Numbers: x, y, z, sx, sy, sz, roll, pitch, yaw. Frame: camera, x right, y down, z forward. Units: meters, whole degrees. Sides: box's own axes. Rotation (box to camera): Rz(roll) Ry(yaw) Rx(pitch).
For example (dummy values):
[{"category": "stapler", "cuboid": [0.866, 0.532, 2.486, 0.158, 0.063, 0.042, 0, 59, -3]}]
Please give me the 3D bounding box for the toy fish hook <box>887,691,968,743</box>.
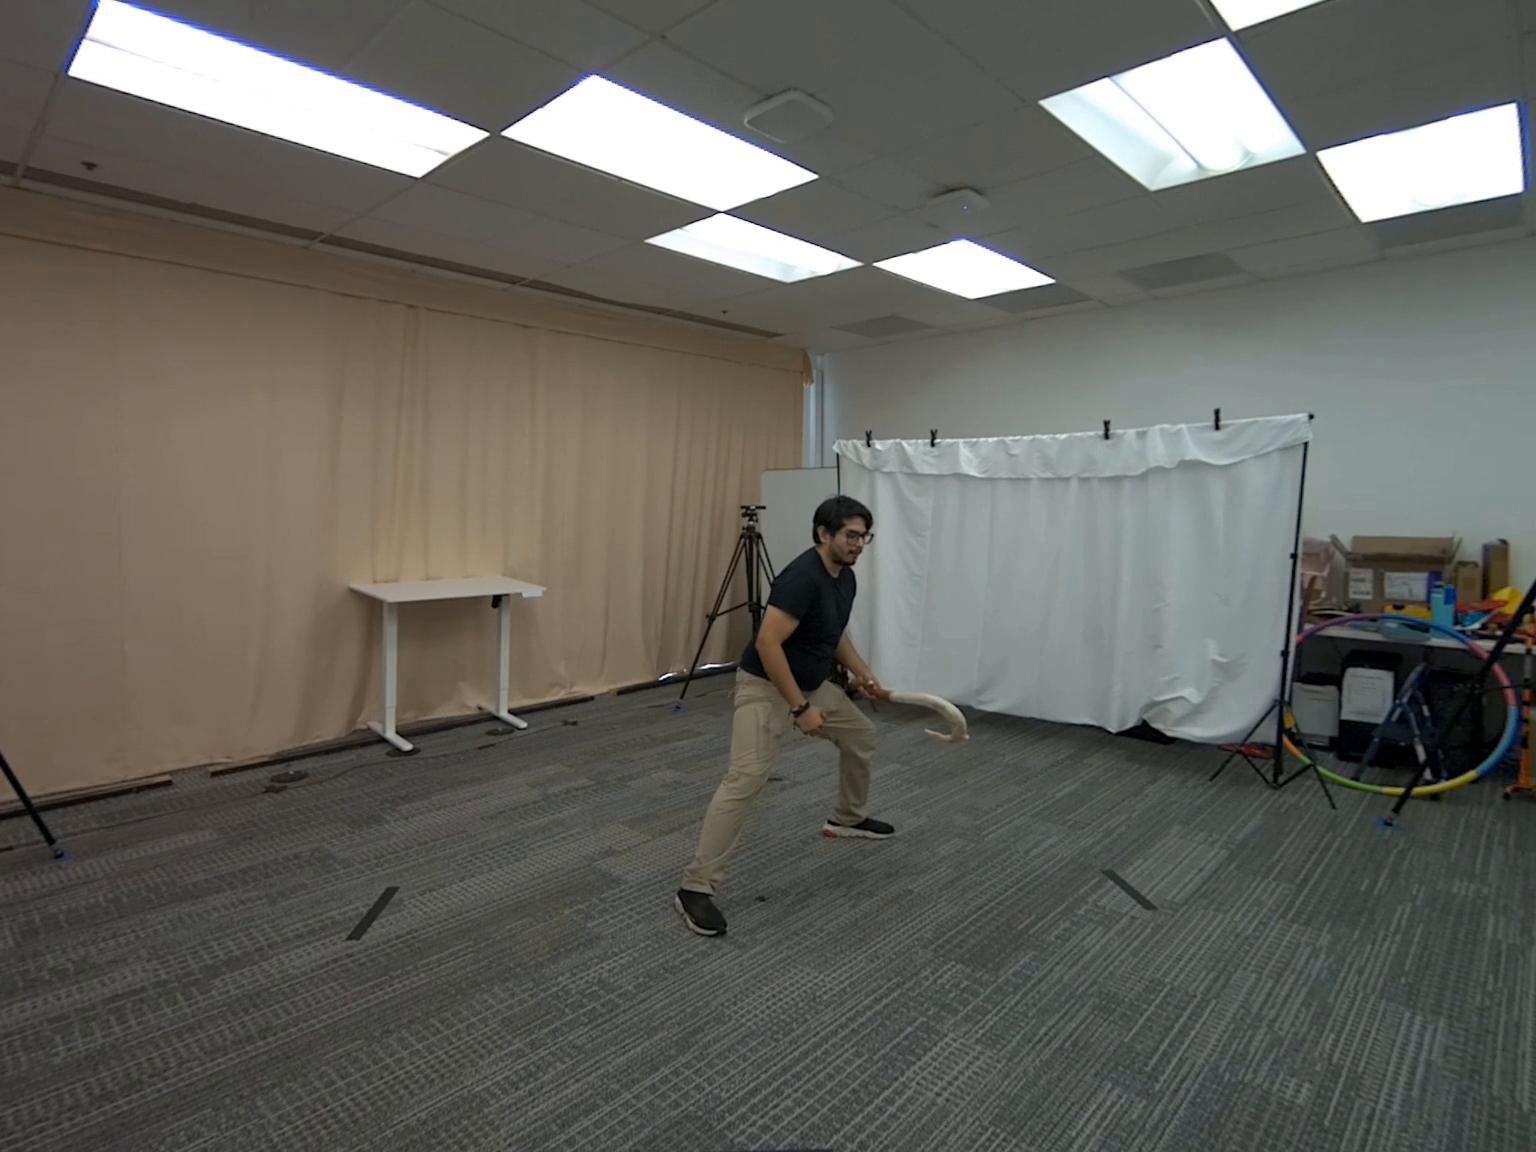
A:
[{"category": "toy fish hook", "cuboid": [0.529, 0.511, 3.172, 0.525, 0.220, 0.047, 13, 36, 44]}]
